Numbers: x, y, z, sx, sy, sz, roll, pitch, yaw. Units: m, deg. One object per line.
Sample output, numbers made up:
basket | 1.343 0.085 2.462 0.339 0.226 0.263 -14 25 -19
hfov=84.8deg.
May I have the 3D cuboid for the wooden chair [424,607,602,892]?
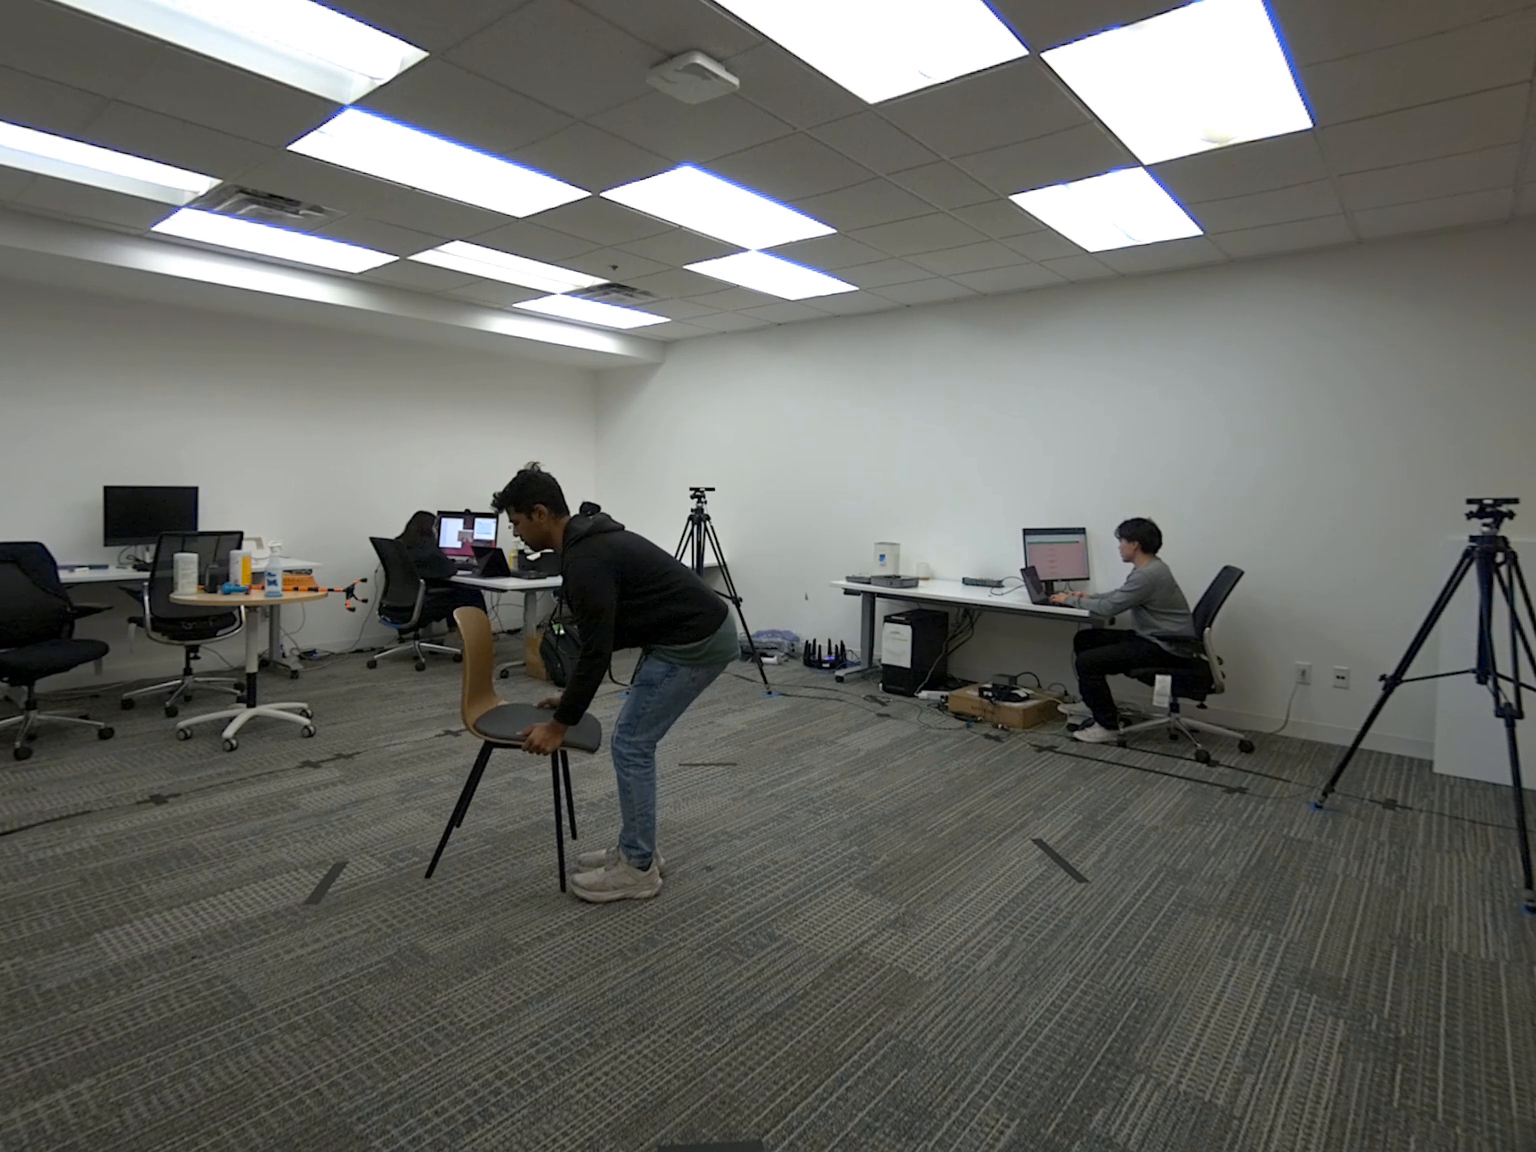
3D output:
wooden chair | -0.856 0.556 2.969 0.519 0.876 0.483 4 2 -7
